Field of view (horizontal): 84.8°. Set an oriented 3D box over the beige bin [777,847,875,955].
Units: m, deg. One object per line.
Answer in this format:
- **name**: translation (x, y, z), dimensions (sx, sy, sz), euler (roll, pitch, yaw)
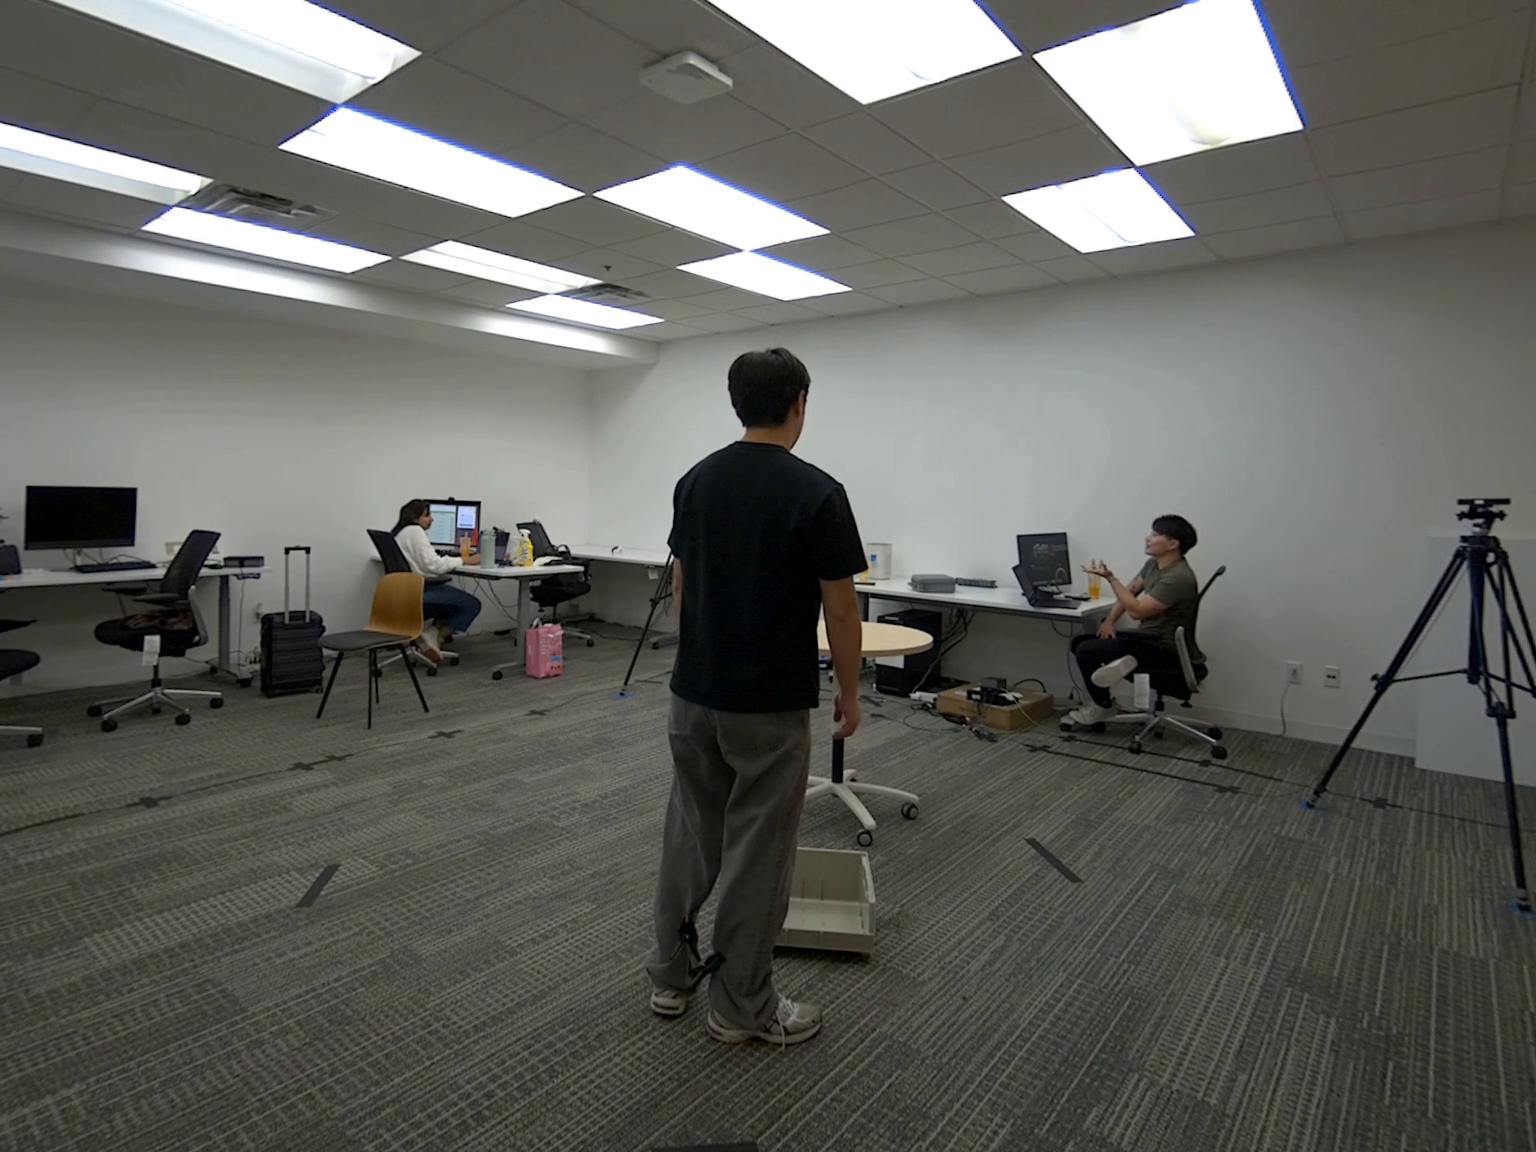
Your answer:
- **beige bin**: translation (0.110, 1.028, 2.700), dimensions (0.424, 0.188, 0.376), euler (1, 4, 3)
